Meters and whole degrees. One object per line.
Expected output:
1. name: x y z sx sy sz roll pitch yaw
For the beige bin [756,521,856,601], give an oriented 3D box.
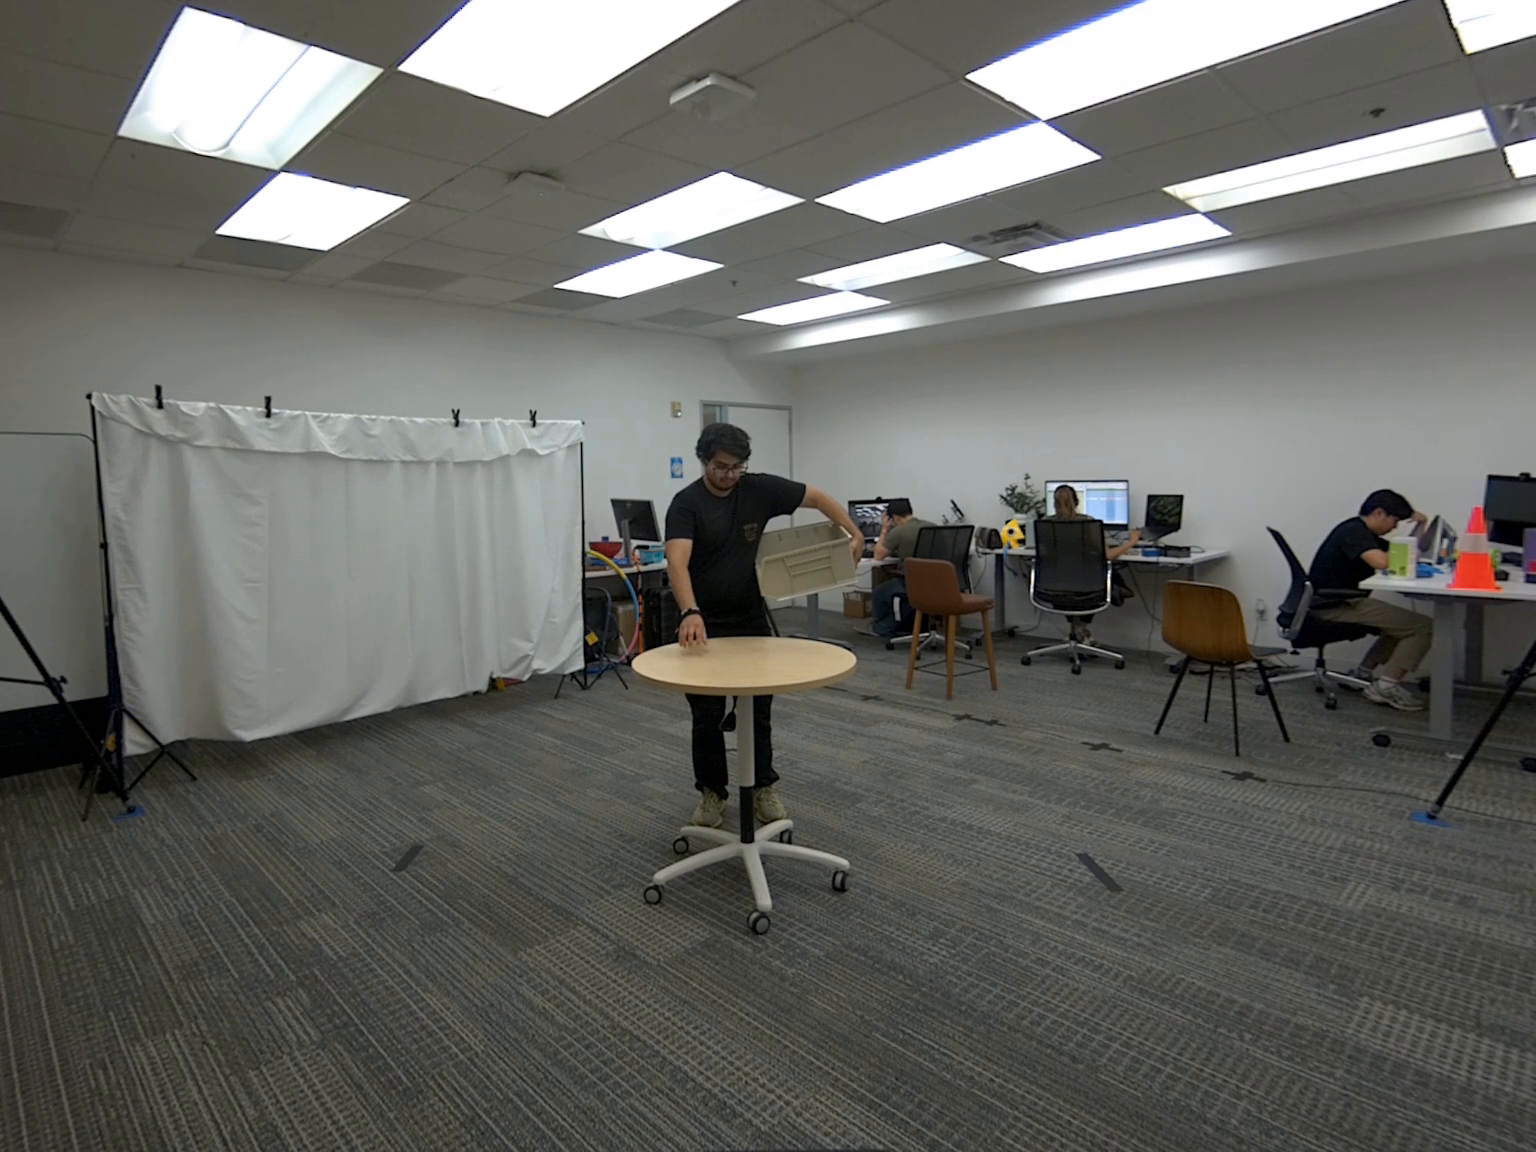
1. beige bin: 0.136 -0.062 3.390 0.377 0.186 0.428 -12 14 -1
